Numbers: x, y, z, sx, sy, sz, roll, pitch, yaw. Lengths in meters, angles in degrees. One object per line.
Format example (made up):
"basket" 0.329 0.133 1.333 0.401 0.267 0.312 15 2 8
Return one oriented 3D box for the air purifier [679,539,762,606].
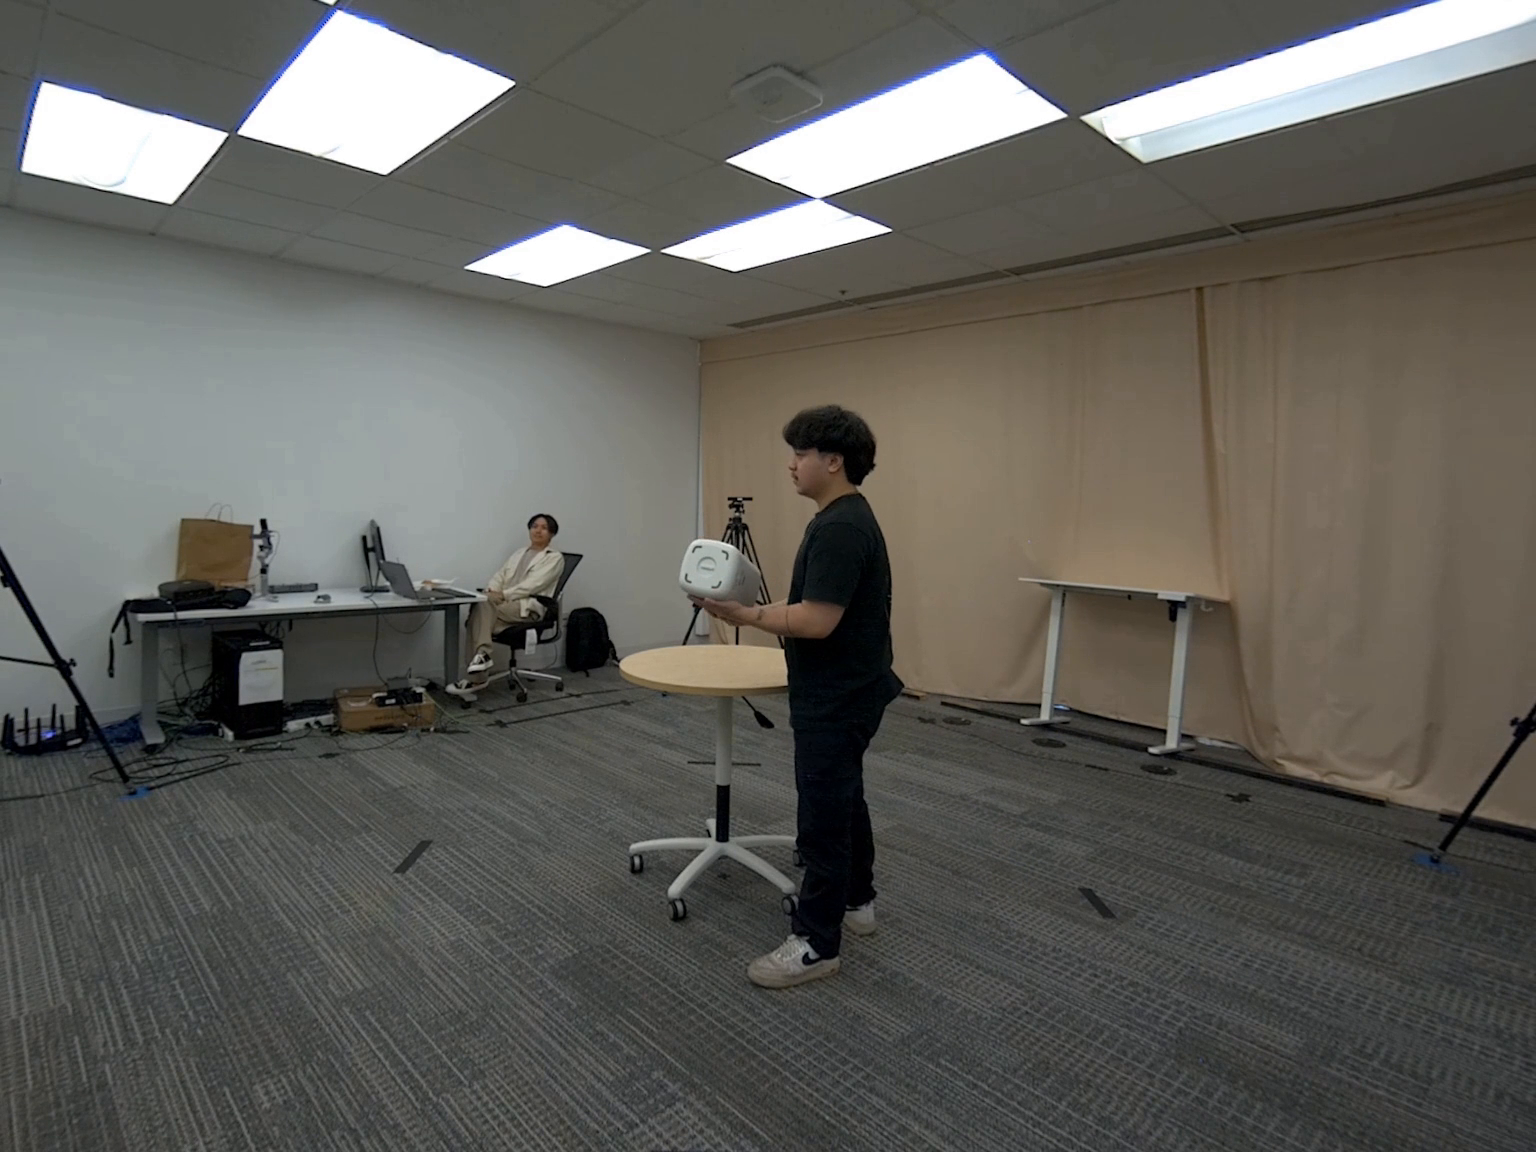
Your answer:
"air purifier" -0.141 0.008 2.539 0.174 0.172 0.260 12 -11 15
